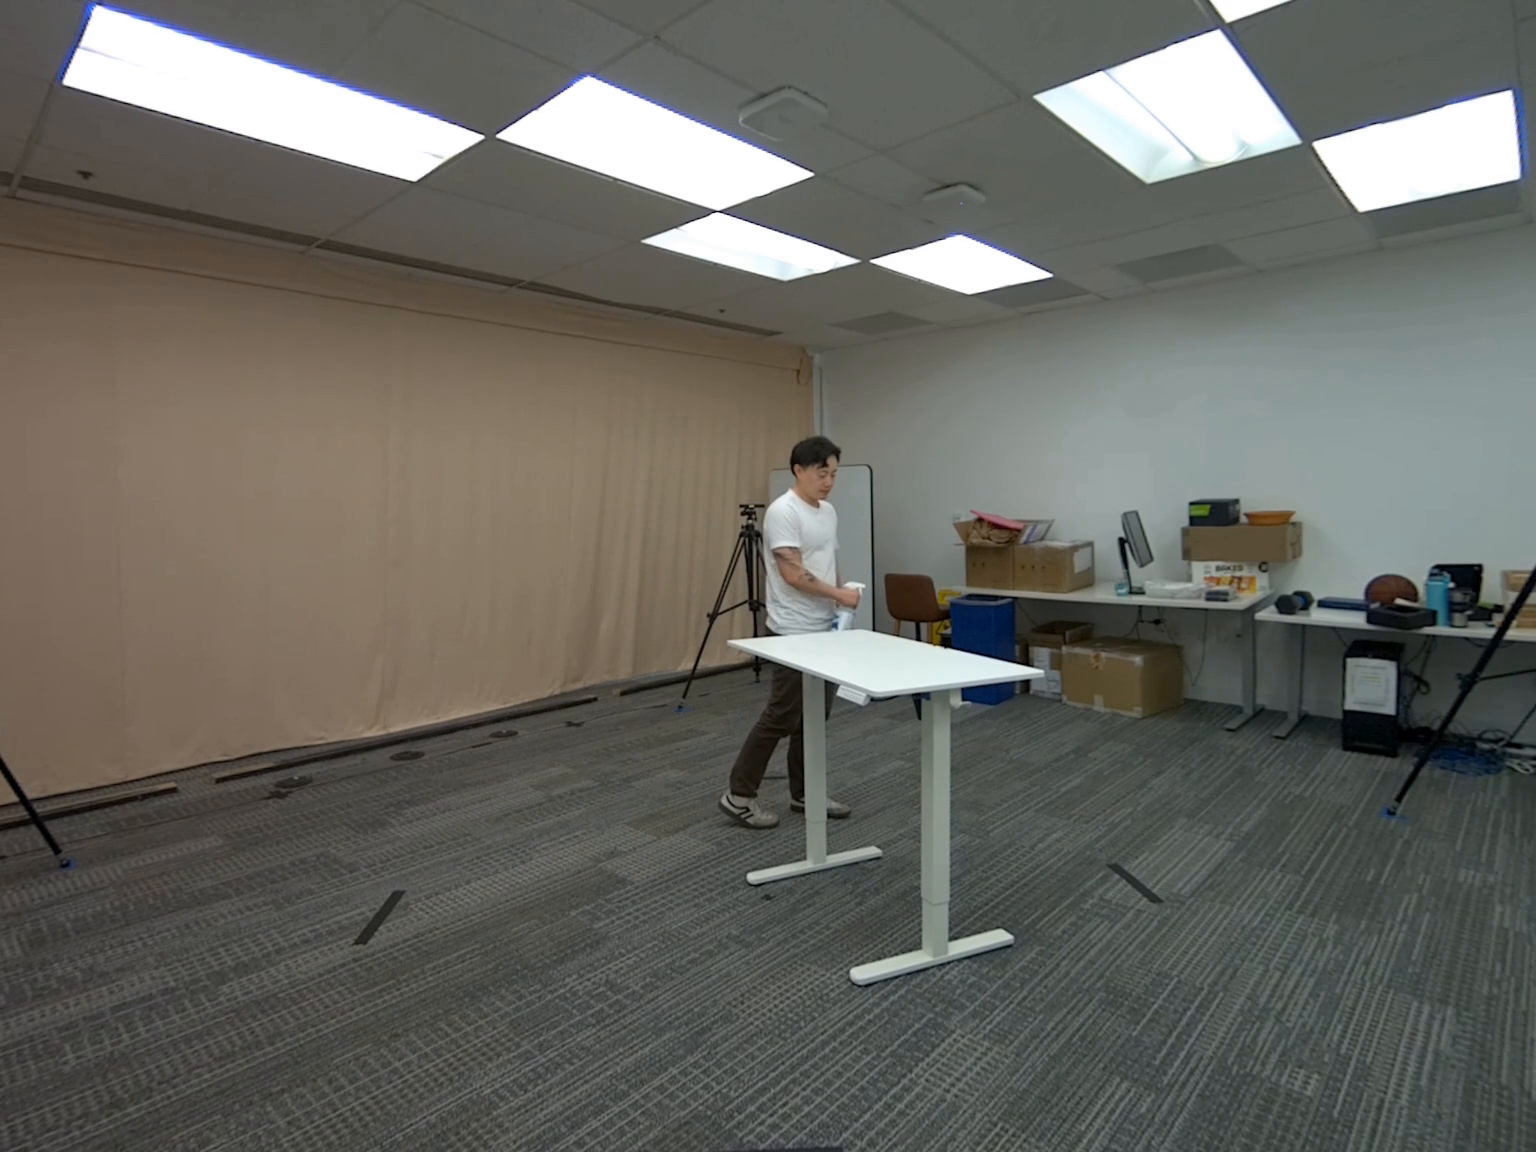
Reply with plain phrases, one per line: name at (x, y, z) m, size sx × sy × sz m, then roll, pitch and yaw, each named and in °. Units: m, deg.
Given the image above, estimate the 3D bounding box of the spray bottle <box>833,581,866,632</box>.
spray bottle at (0.313, 0.156, 3.634) m, size 0.093 × 0.298 × 0.084 m, roll 6°, pitch -18°, yaw 36°
